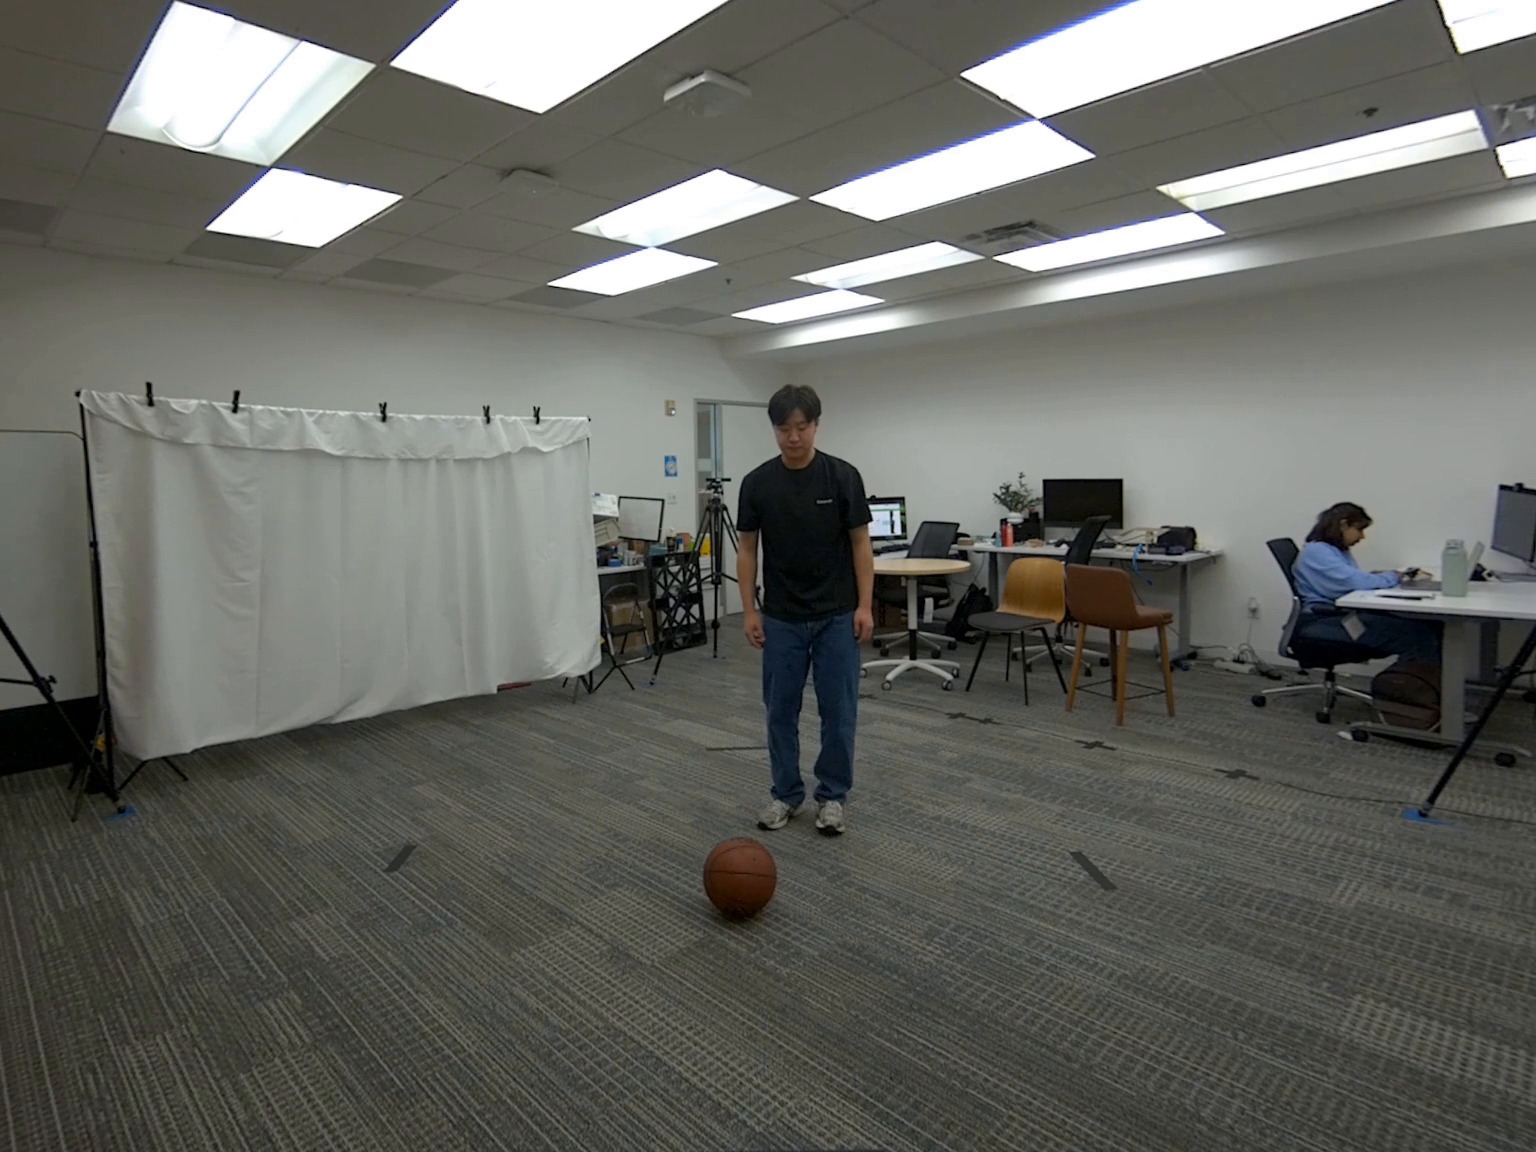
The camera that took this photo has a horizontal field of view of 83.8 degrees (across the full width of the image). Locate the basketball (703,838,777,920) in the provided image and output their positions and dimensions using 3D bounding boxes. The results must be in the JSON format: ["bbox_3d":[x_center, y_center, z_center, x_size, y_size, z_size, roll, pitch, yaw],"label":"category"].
[{"bbox_3d":[-0.088,0.961,2.753,0.236,0.235,0.237,-1,5,-2],"label":"basketball"}]
